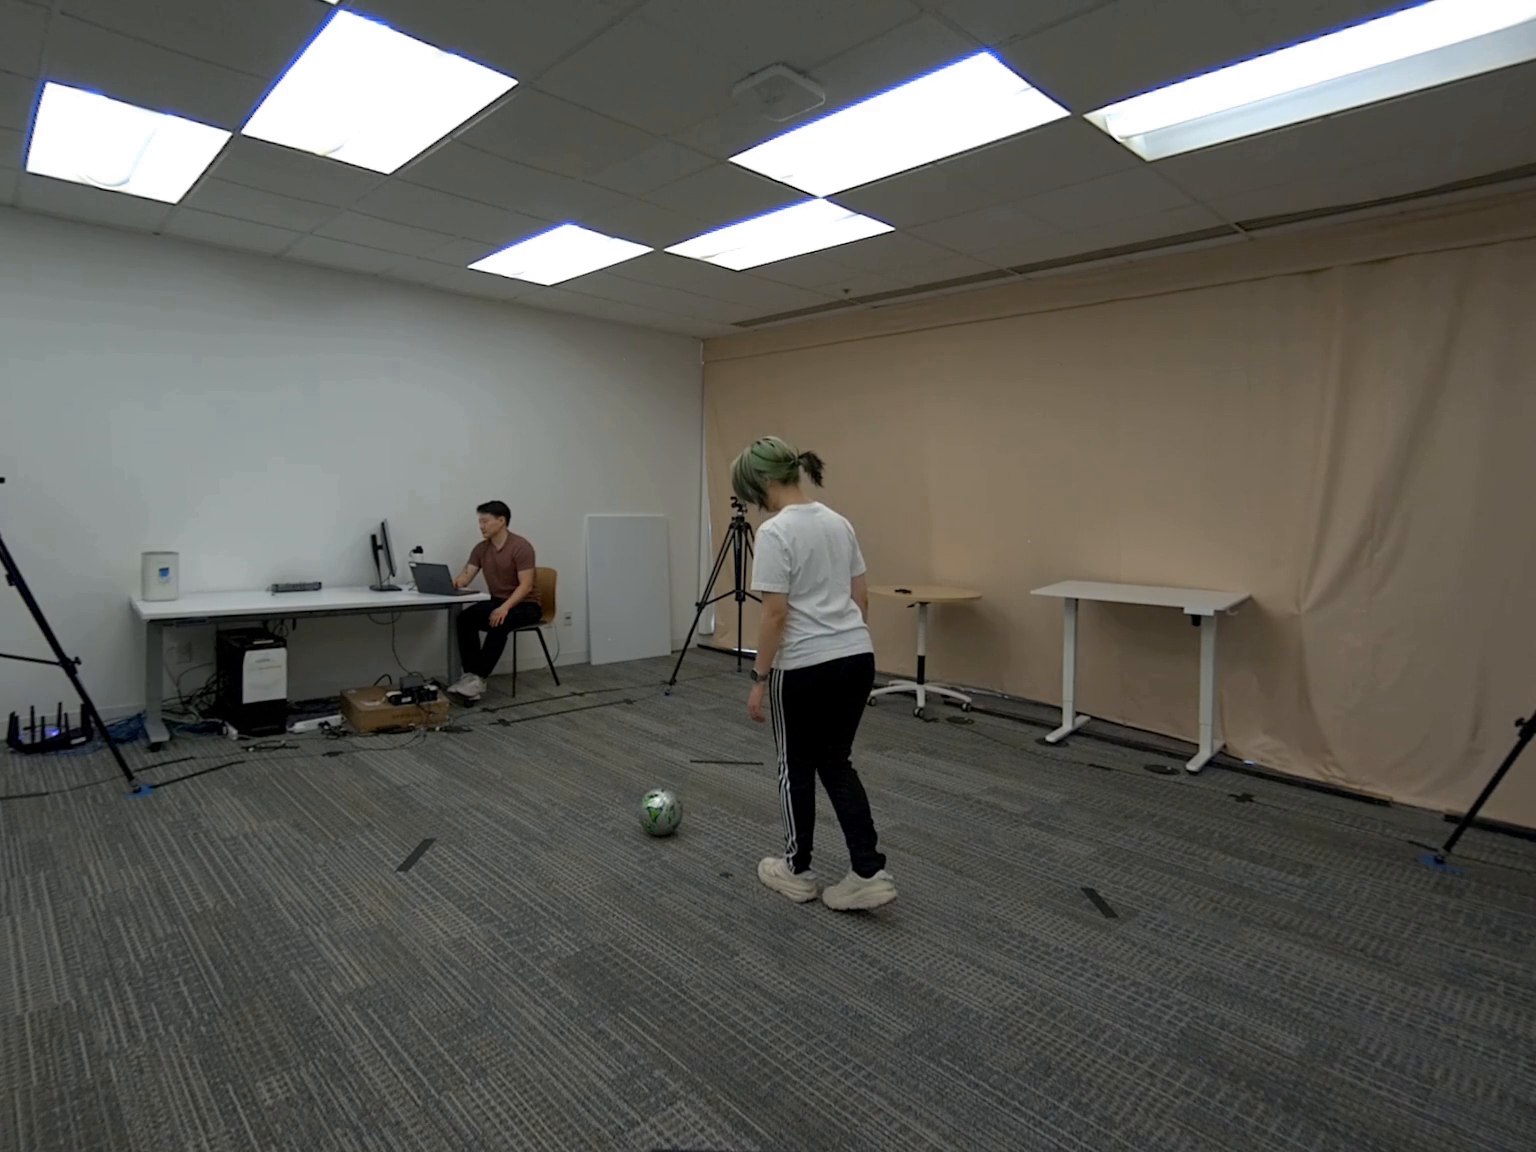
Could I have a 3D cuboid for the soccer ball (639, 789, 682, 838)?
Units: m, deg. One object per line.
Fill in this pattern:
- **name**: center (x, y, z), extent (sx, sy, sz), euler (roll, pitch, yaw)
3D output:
- **soccer ball**: center (-0.448, 0.969, 3.465), extent (0.187, 0.187, 0.188), euler (1, 4, -1)
